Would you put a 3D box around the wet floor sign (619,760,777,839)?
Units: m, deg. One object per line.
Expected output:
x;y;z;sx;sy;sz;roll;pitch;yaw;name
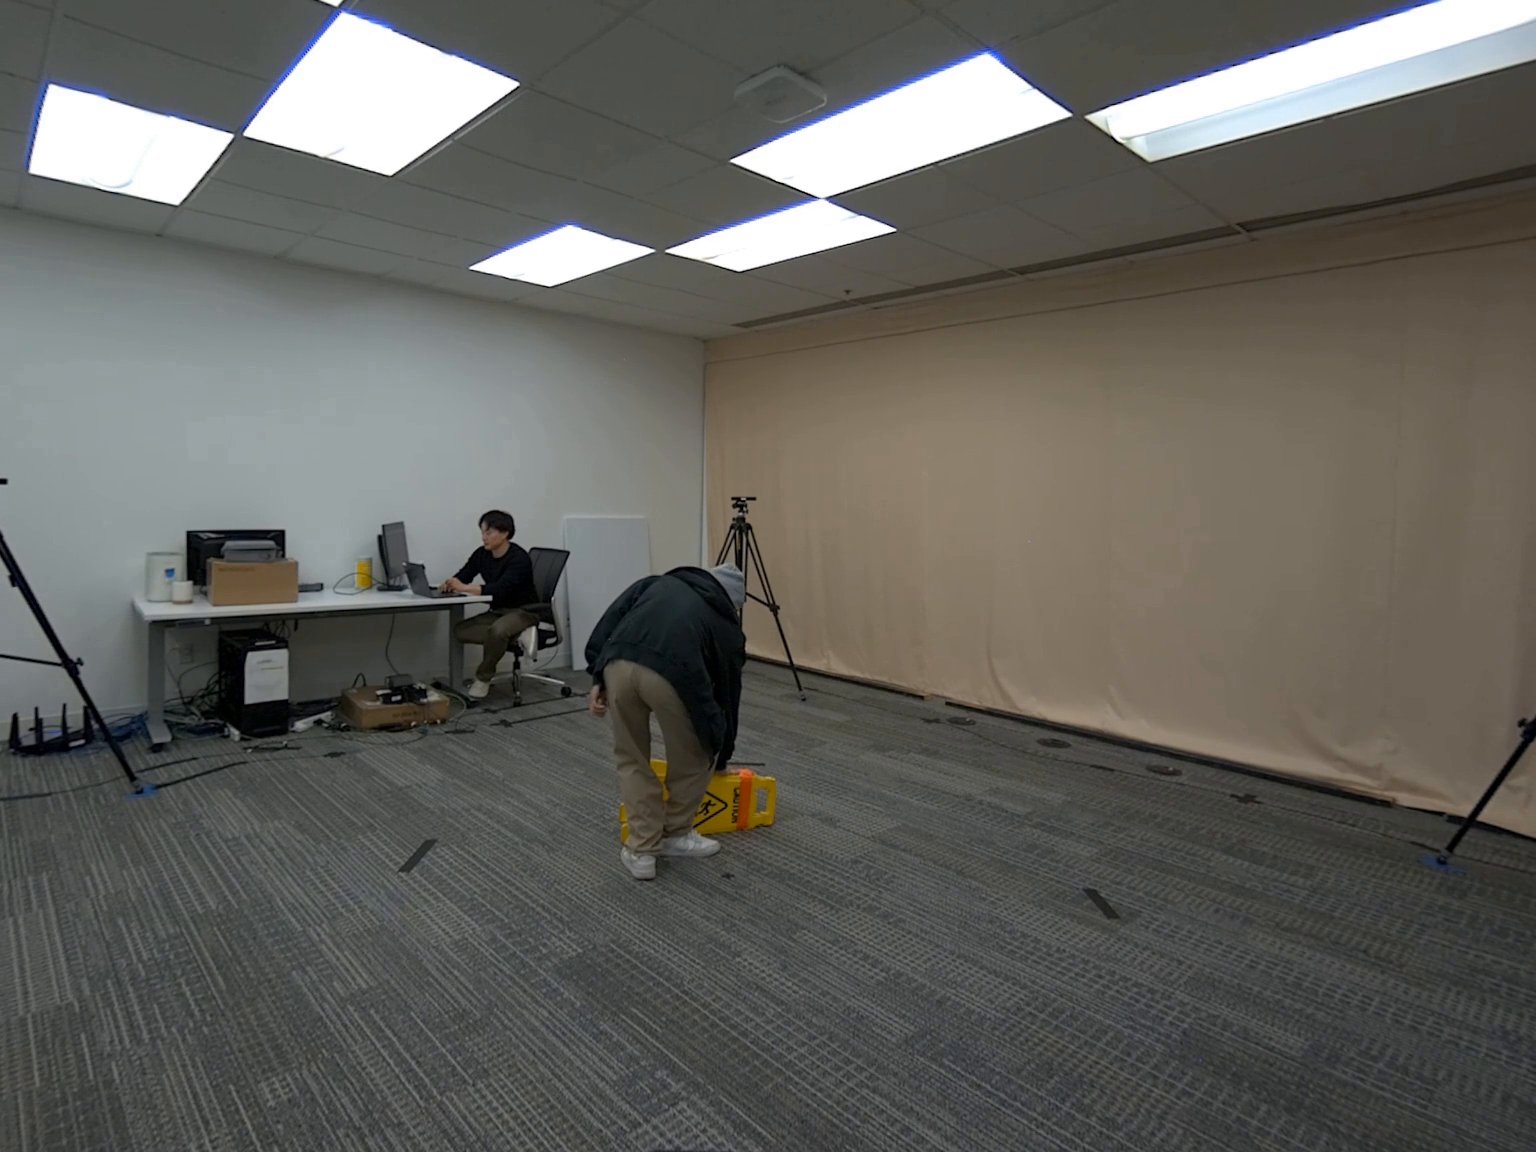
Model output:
-0.298;0.941;3.554;0.641;0.282;0.292;3;3;-9;wet floor sign
